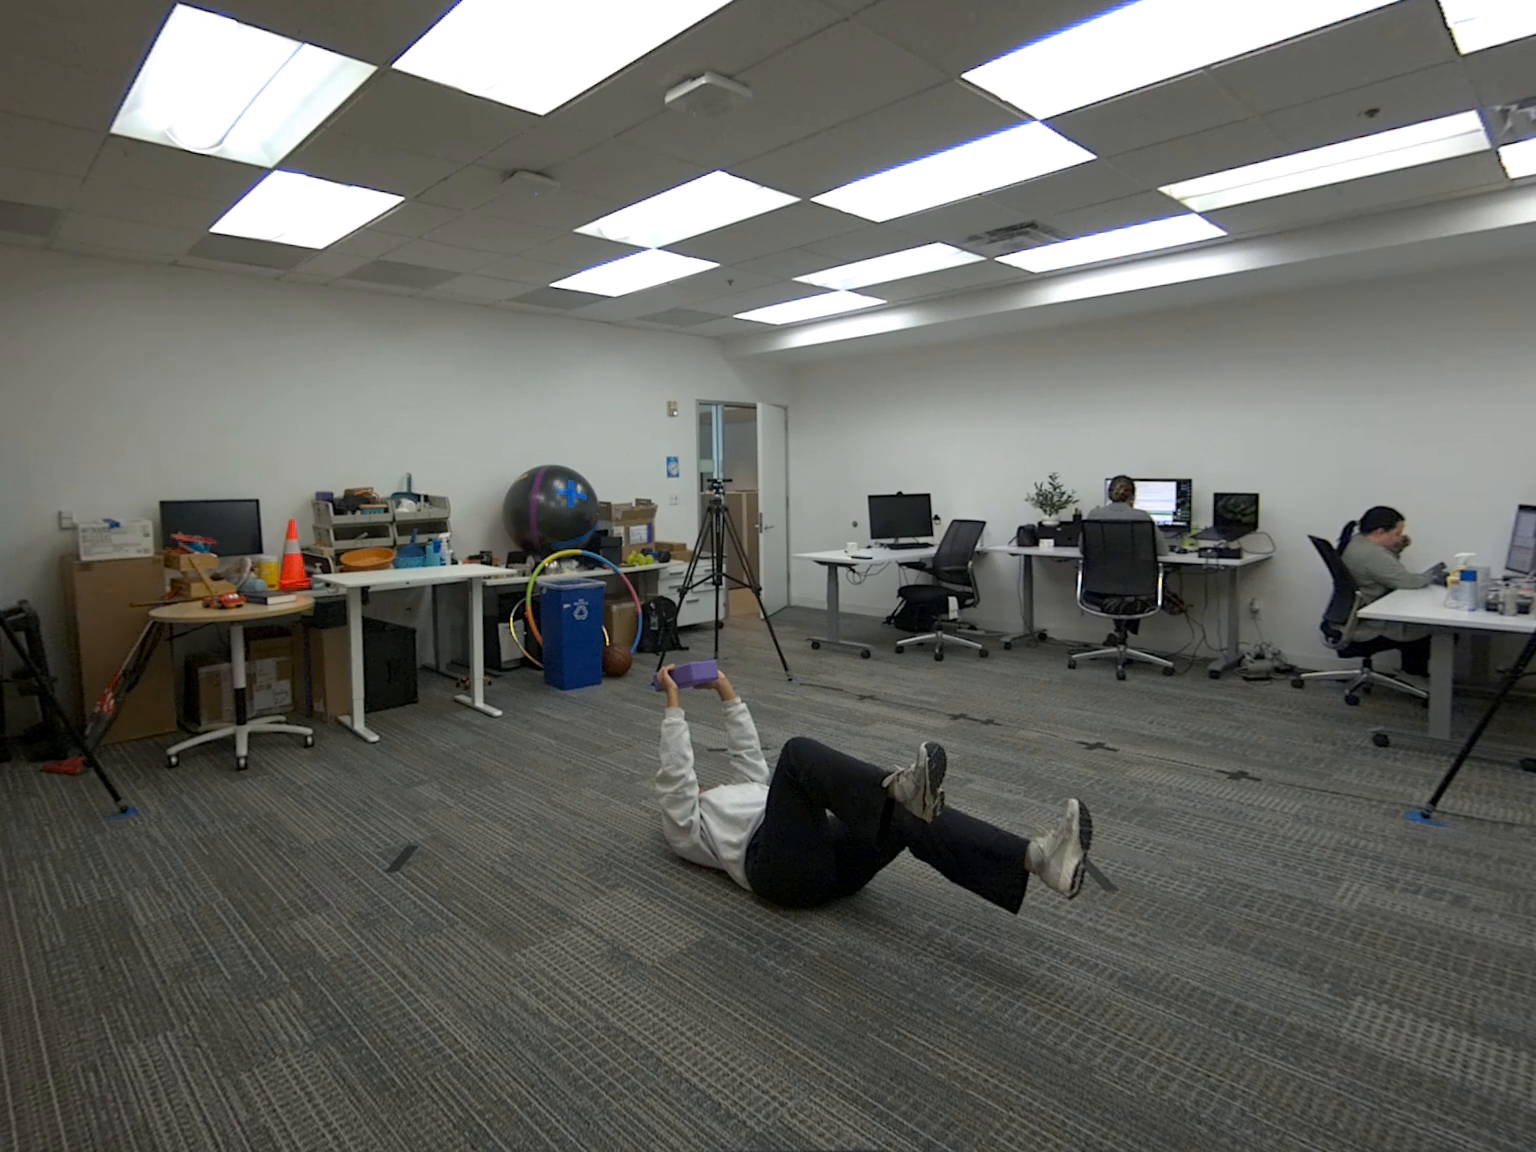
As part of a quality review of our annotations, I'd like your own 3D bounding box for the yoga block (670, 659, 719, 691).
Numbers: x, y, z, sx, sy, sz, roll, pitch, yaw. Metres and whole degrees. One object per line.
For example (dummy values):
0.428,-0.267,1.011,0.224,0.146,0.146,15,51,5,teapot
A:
-0.326,0.391,3.334,0.233,0.077,0.144,-19,-14,41,yoga block
